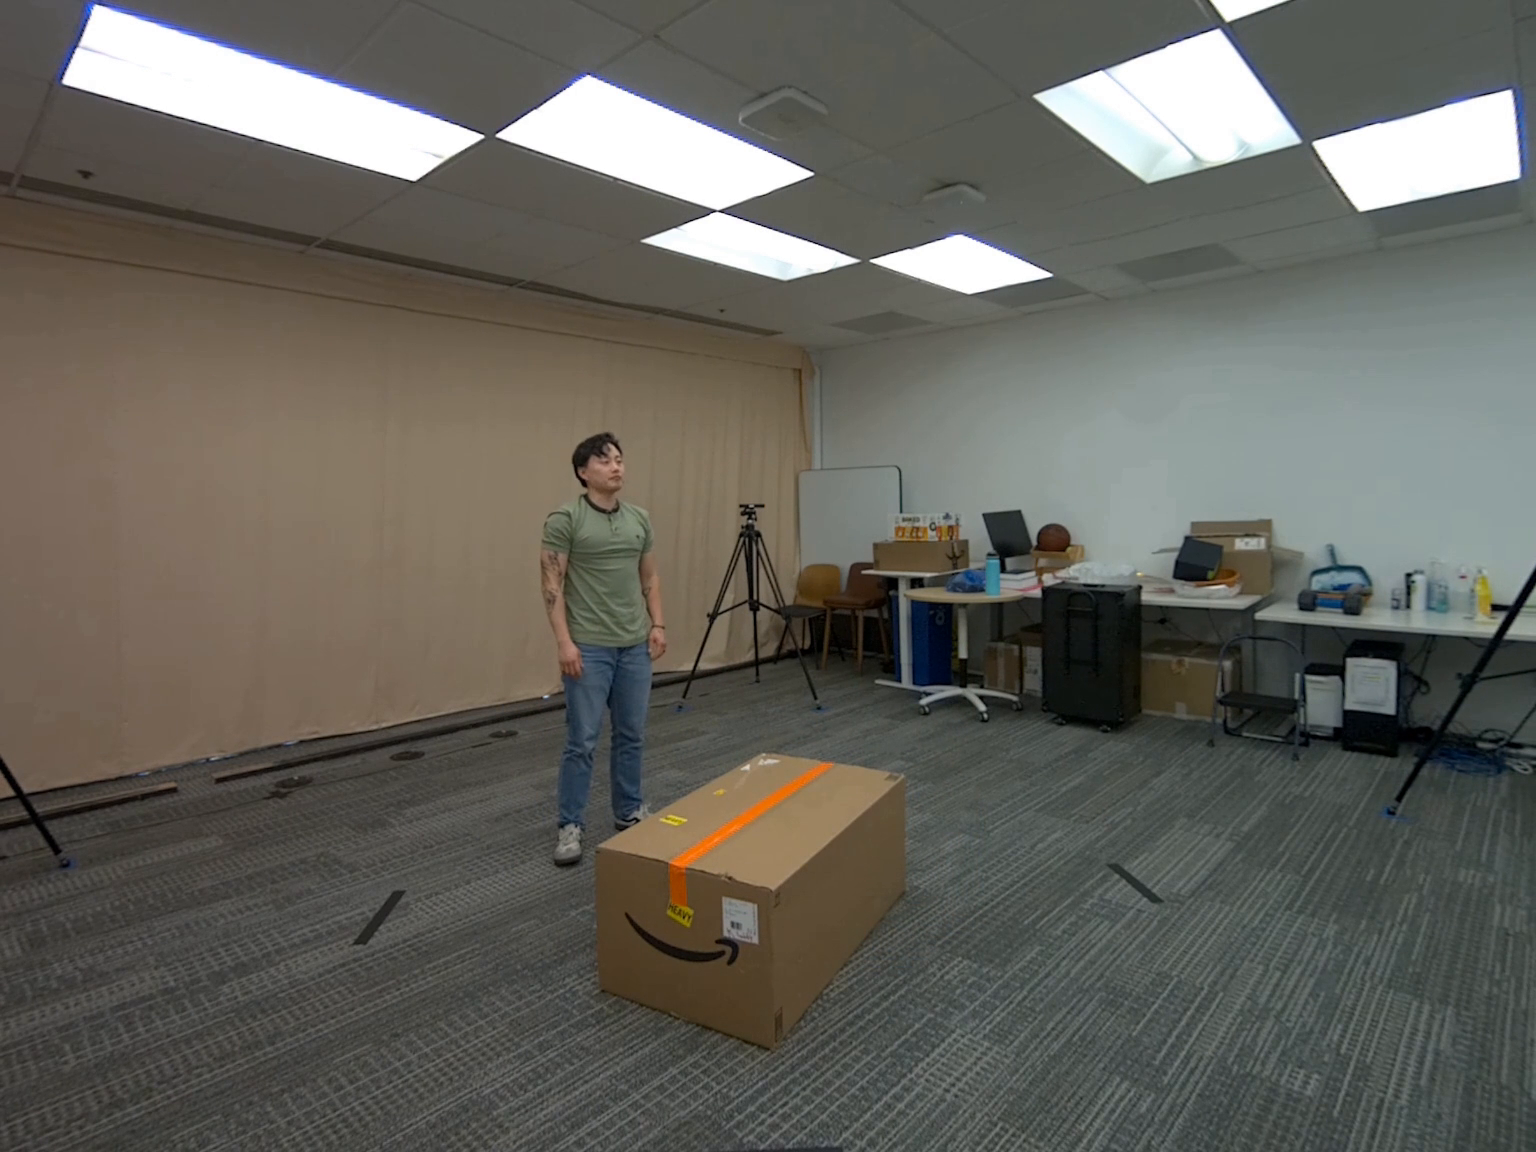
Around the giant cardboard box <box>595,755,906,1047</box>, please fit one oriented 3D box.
[{"bbox_3d":[0.001,0.948,2.706,0.594,0.425,1.000,1,5,29],"label":"giant cardboard box"}]
